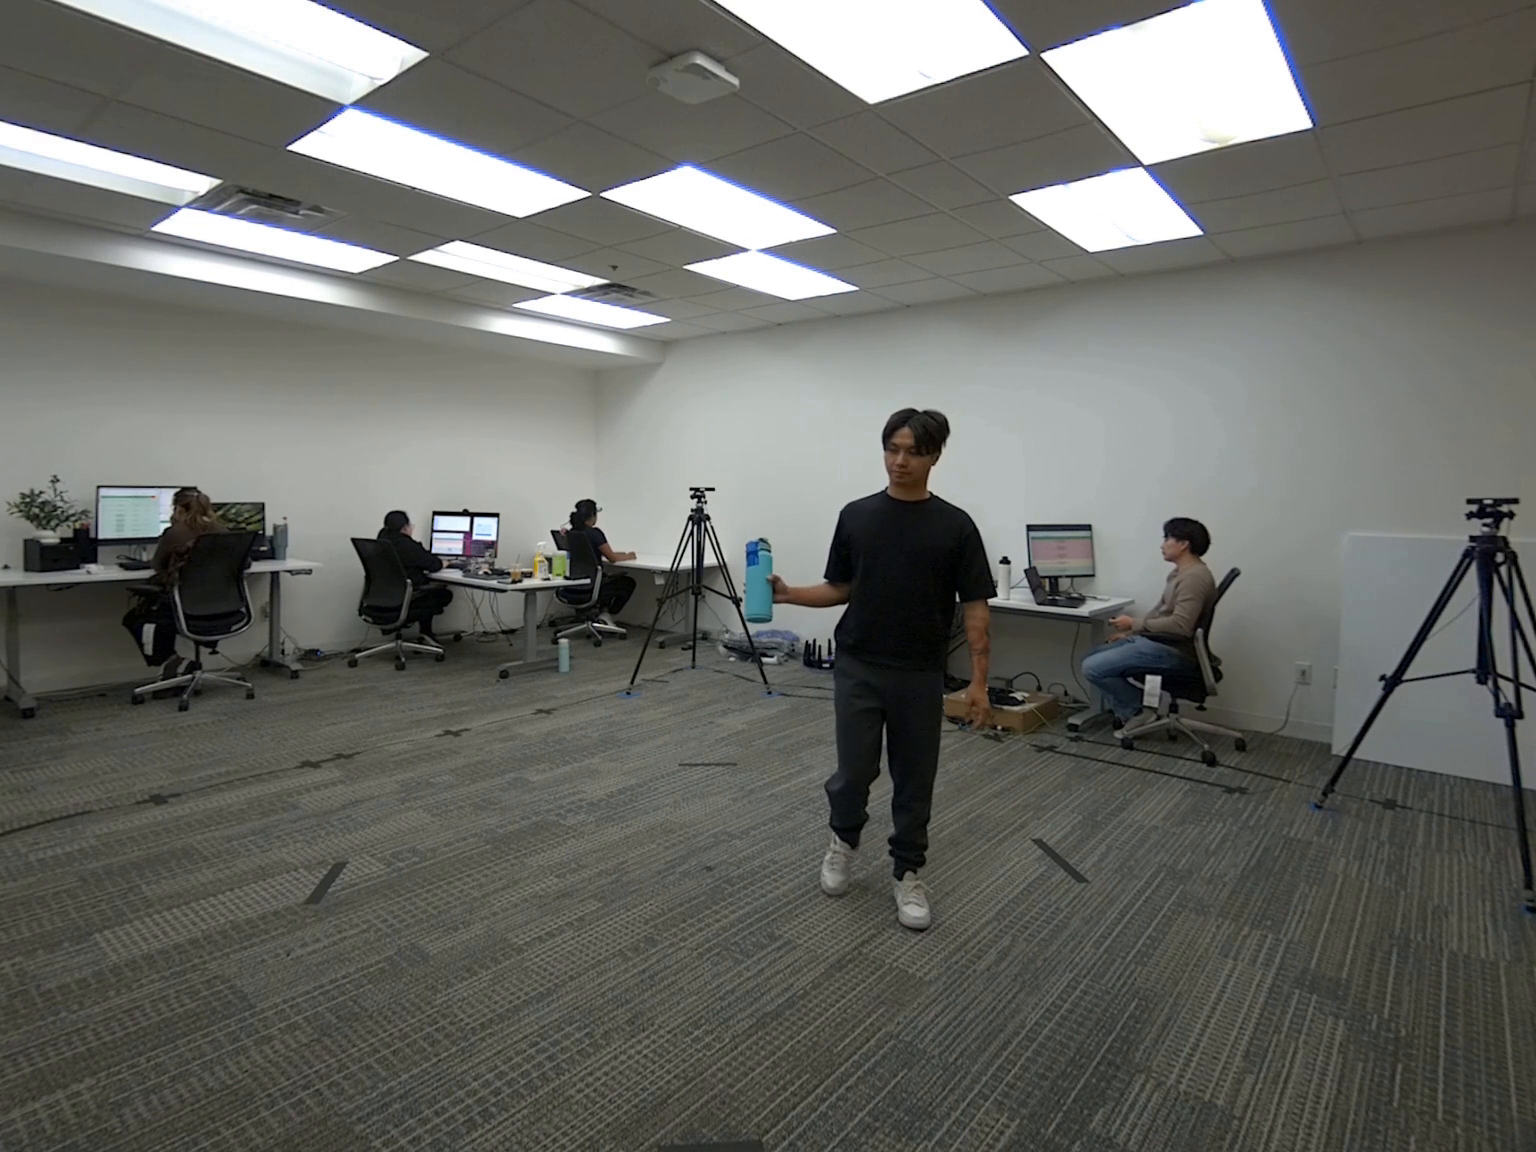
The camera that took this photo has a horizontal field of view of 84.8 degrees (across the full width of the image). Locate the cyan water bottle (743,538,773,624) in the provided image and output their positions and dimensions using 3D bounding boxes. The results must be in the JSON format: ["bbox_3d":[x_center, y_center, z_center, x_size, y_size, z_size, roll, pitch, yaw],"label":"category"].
[{"bbox_3d":[-0.034,0.007,2.809,0.092,0.288,0.091,0,-17,-2],"label":"cyan water bottle"}]
